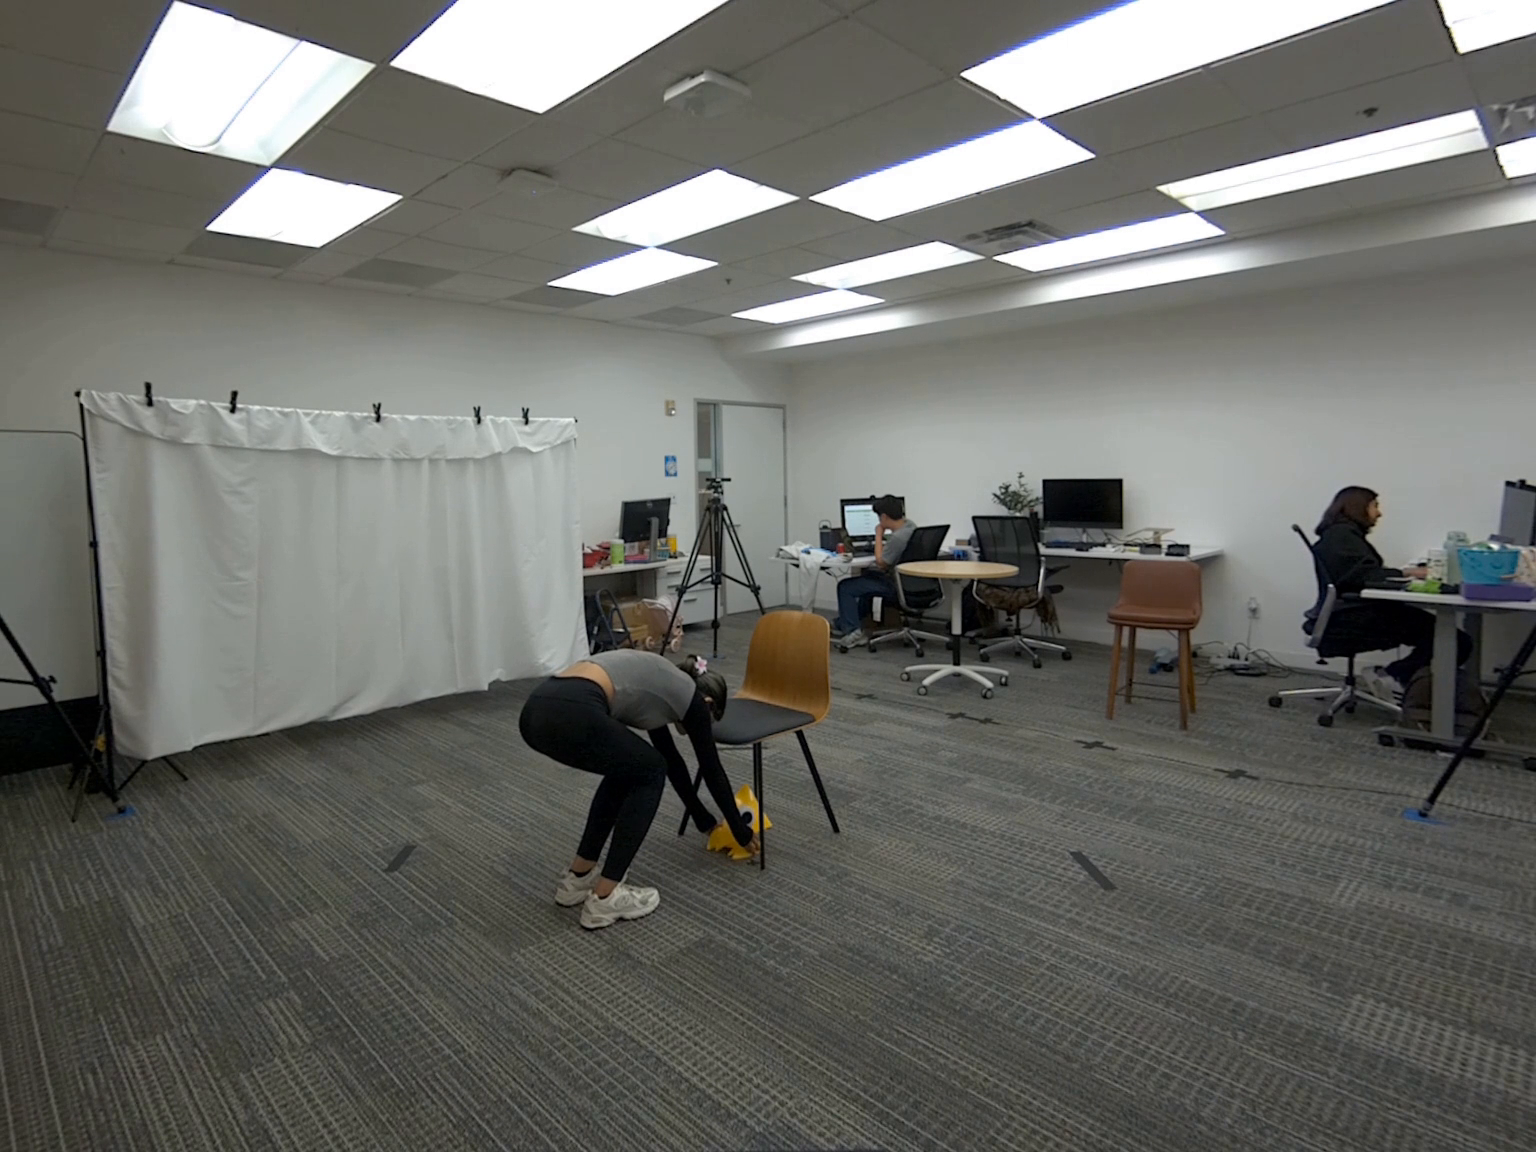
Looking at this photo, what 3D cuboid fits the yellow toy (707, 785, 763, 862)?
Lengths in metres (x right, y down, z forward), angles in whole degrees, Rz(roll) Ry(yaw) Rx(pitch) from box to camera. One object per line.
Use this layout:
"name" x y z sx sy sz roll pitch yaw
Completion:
"yellow toy" -0.122 0.920 3.239 0.211 0.230 0.188 3 5 42
